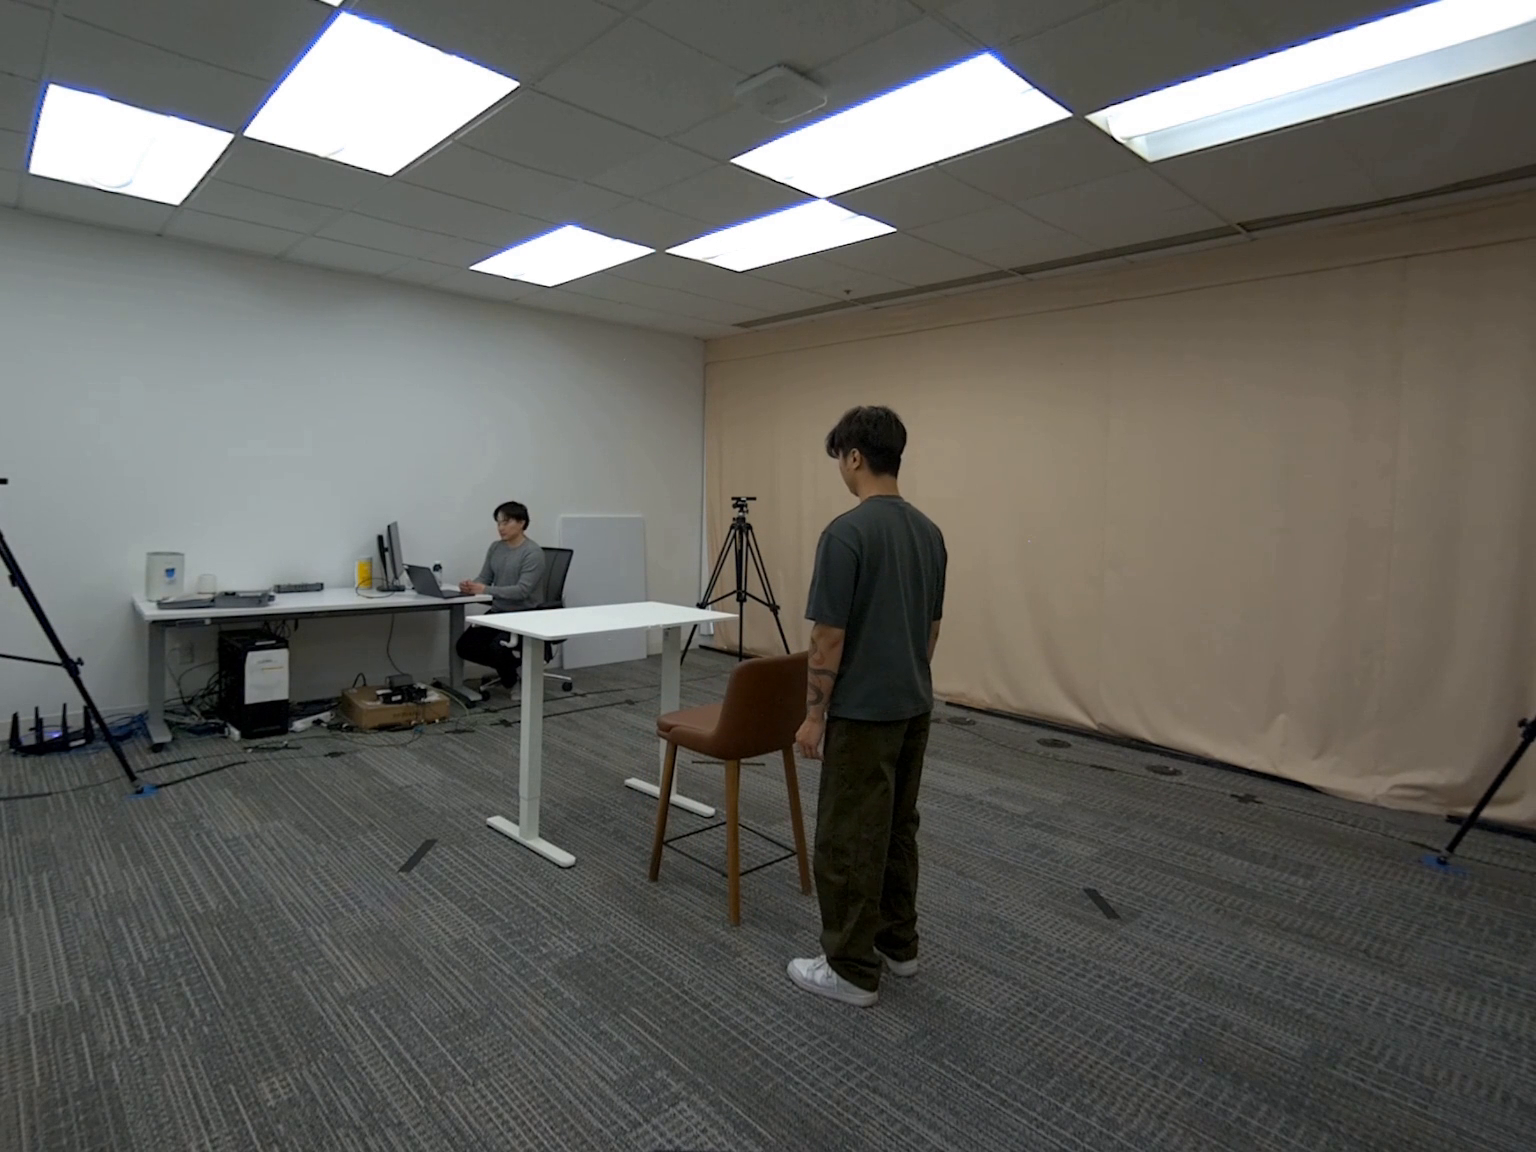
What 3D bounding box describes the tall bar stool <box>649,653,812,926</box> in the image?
[{"bbox_3d":[-0.121,0.680,2.987,0.446,0.887,0.480,-2,6,-43],"label":"tall bar stool"}]
